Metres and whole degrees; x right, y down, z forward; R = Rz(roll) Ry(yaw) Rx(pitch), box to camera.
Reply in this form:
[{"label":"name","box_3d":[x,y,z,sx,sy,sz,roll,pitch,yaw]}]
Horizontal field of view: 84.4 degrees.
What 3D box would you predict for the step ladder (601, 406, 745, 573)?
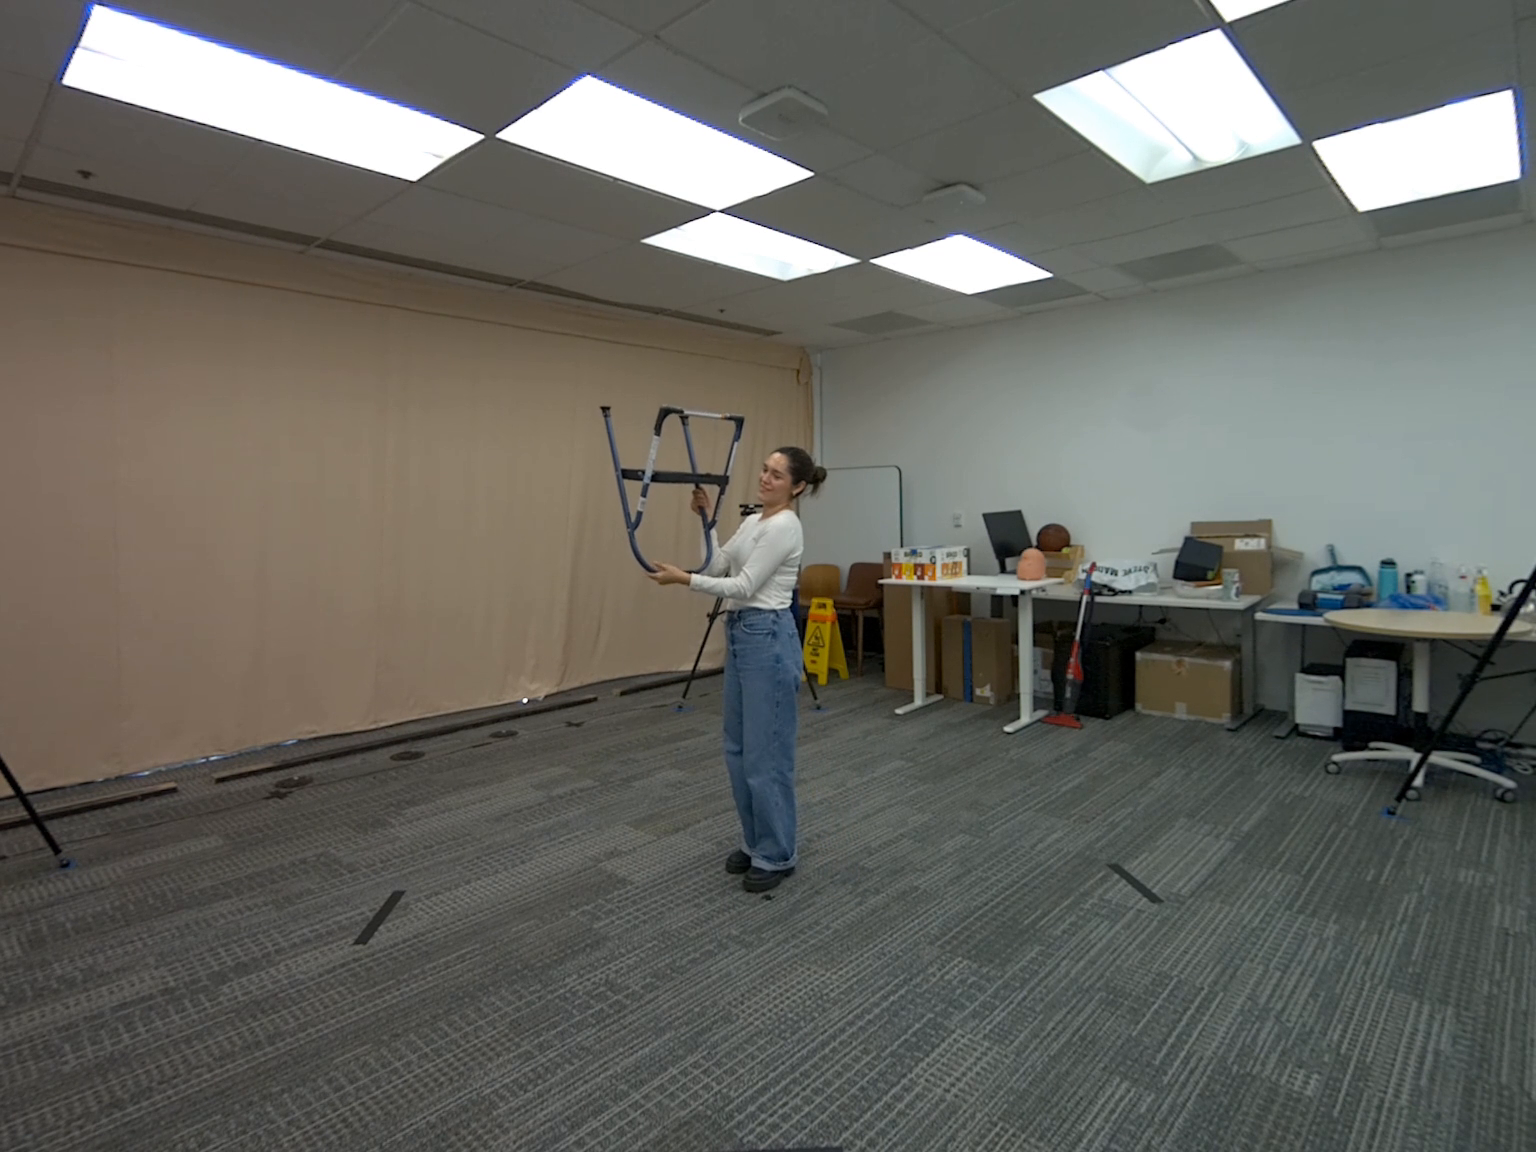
[{"label":"step ladder","box_3d":[-0.362,-0.313,3.127,0.361,0.604,0.417,8,7,42]}]
